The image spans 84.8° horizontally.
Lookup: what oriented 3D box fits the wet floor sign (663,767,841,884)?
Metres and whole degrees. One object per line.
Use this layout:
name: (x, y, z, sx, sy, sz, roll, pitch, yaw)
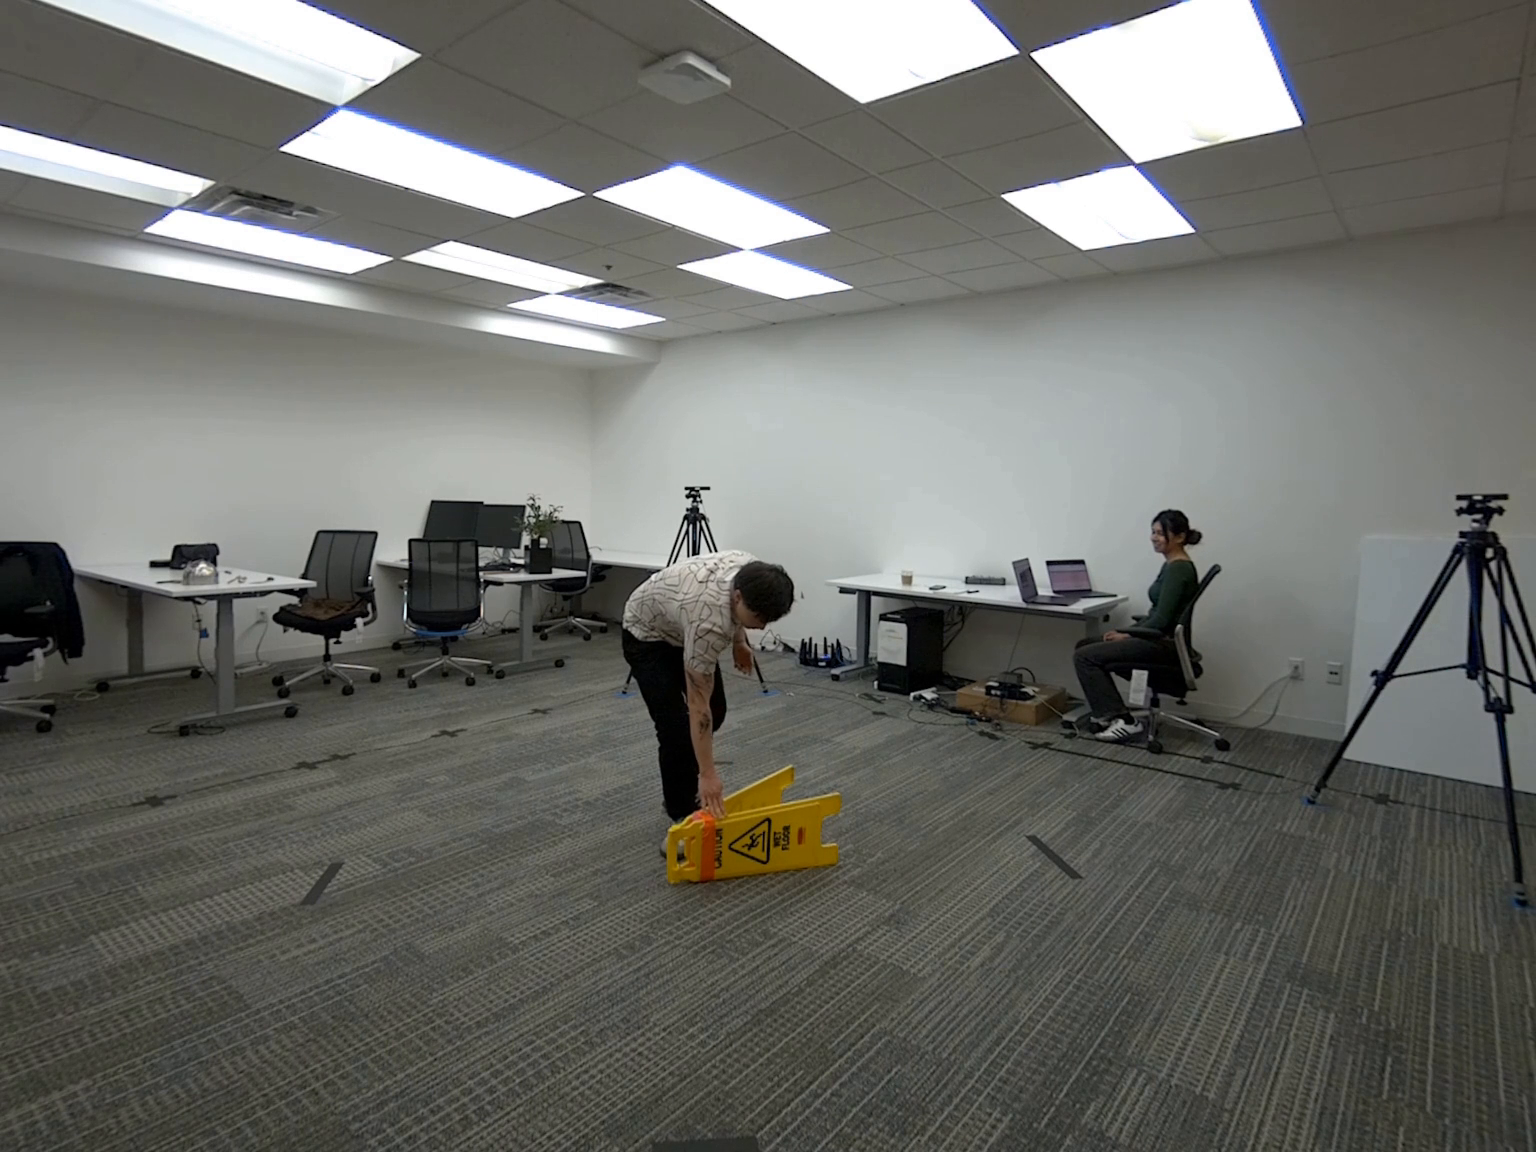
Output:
wet floor sign: (-0.091, 0.936, 3.099, 0.629, 0.280, 0.300, -5, 12, -33)
